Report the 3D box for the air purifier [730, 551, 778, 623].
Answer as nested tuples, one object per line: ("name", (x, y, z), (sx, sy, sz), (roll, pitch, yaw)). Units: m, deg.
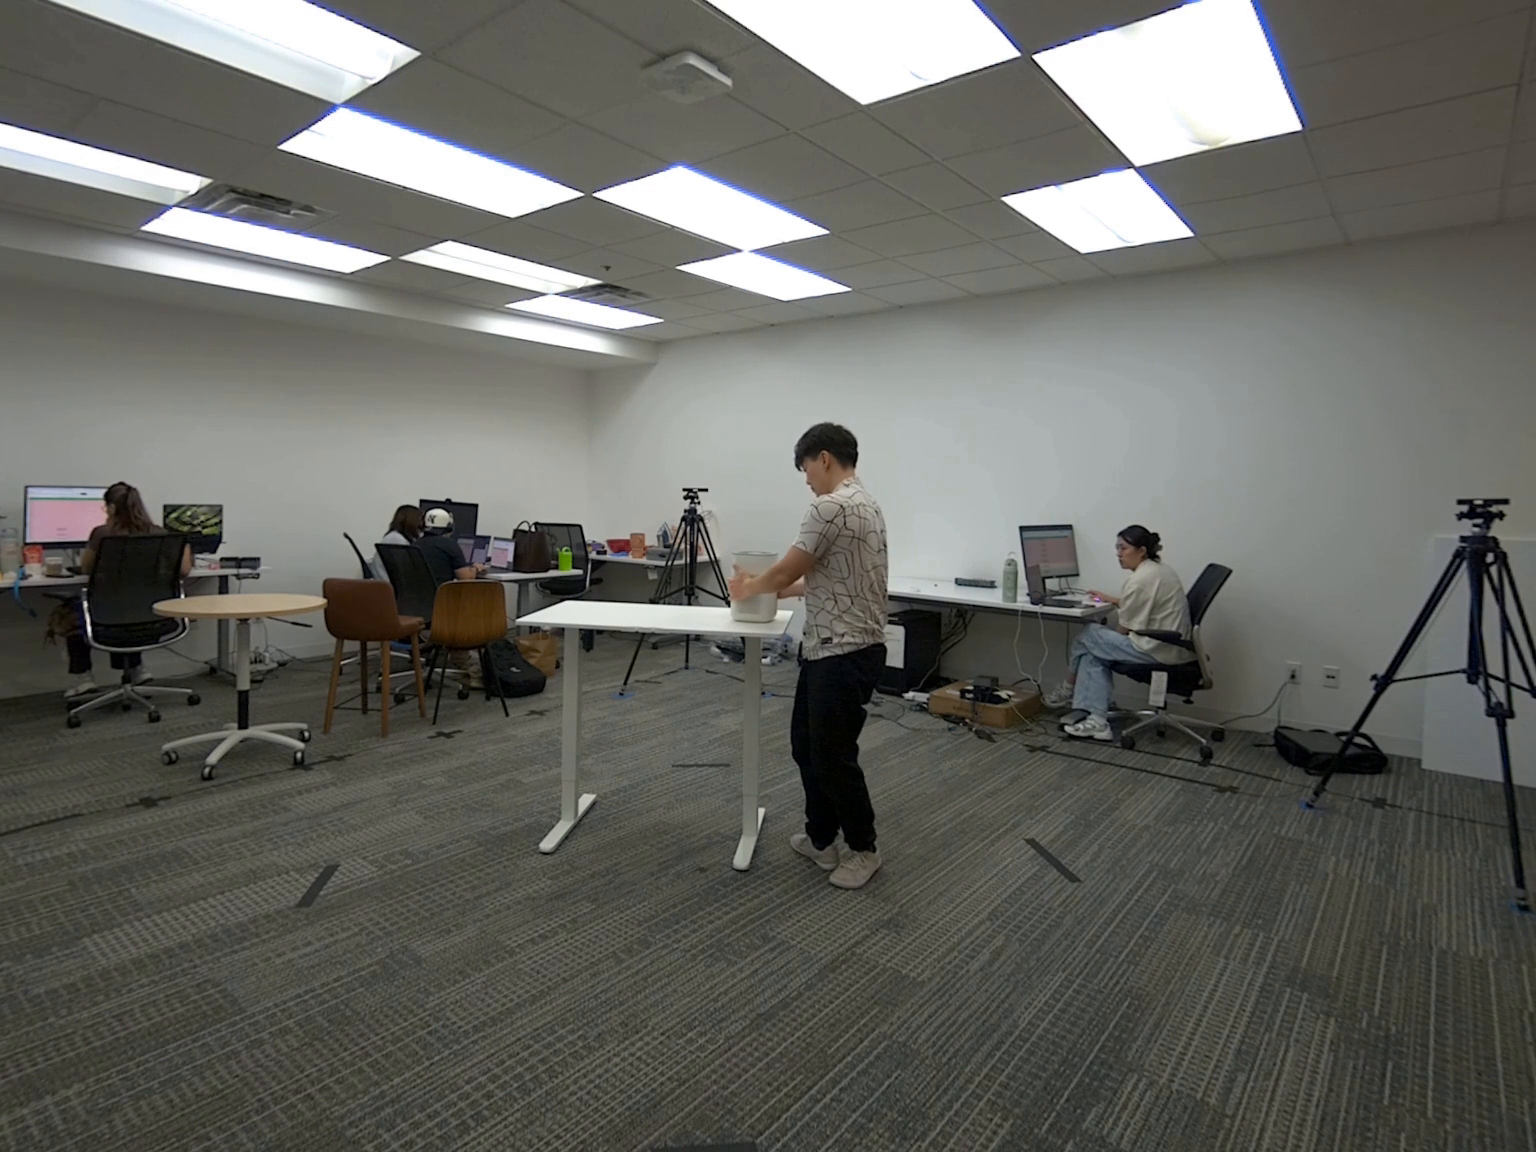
("air purifier", (-0.059, 0.042, 3.344), (0.174, 0.265, 0.169), (0, 0, 10))
